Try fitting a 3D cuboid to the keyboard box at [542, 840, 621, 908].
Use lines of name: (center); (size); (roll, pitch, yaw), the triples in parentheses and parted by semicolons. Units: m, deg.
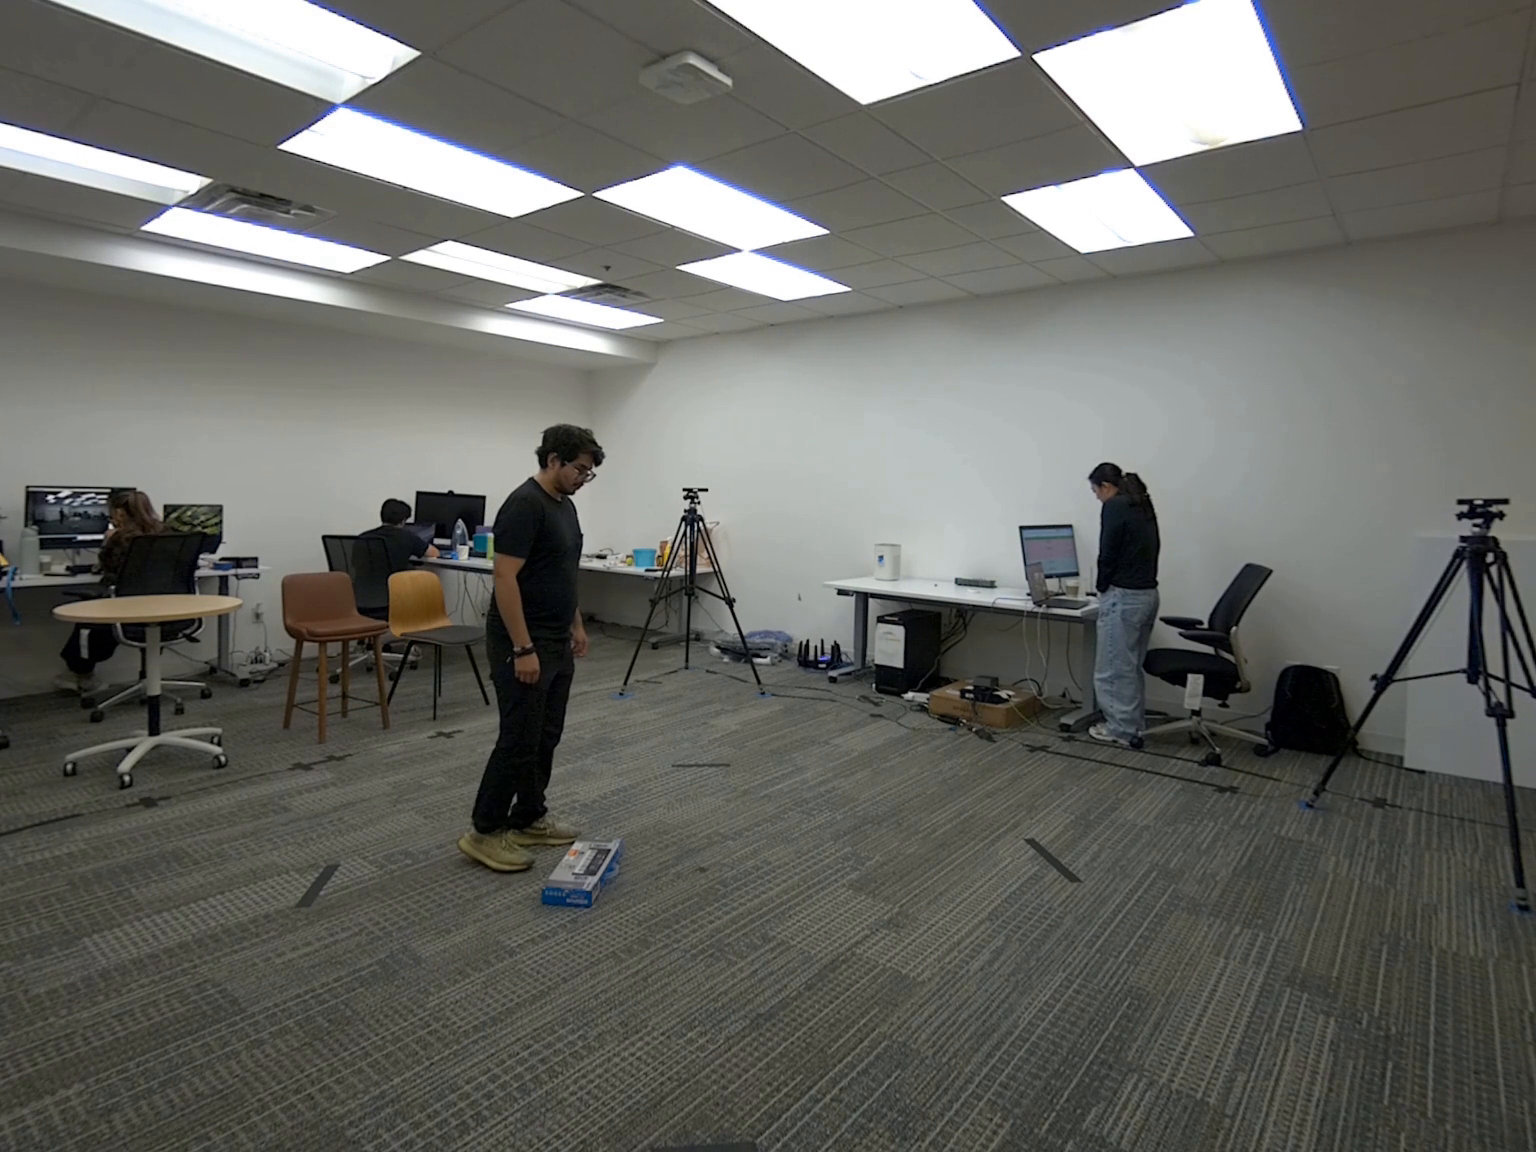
keyboard box: (-0.663, 1.041, 3.026); (0.177, 0.059, 0.436); (1, 5, 4)
